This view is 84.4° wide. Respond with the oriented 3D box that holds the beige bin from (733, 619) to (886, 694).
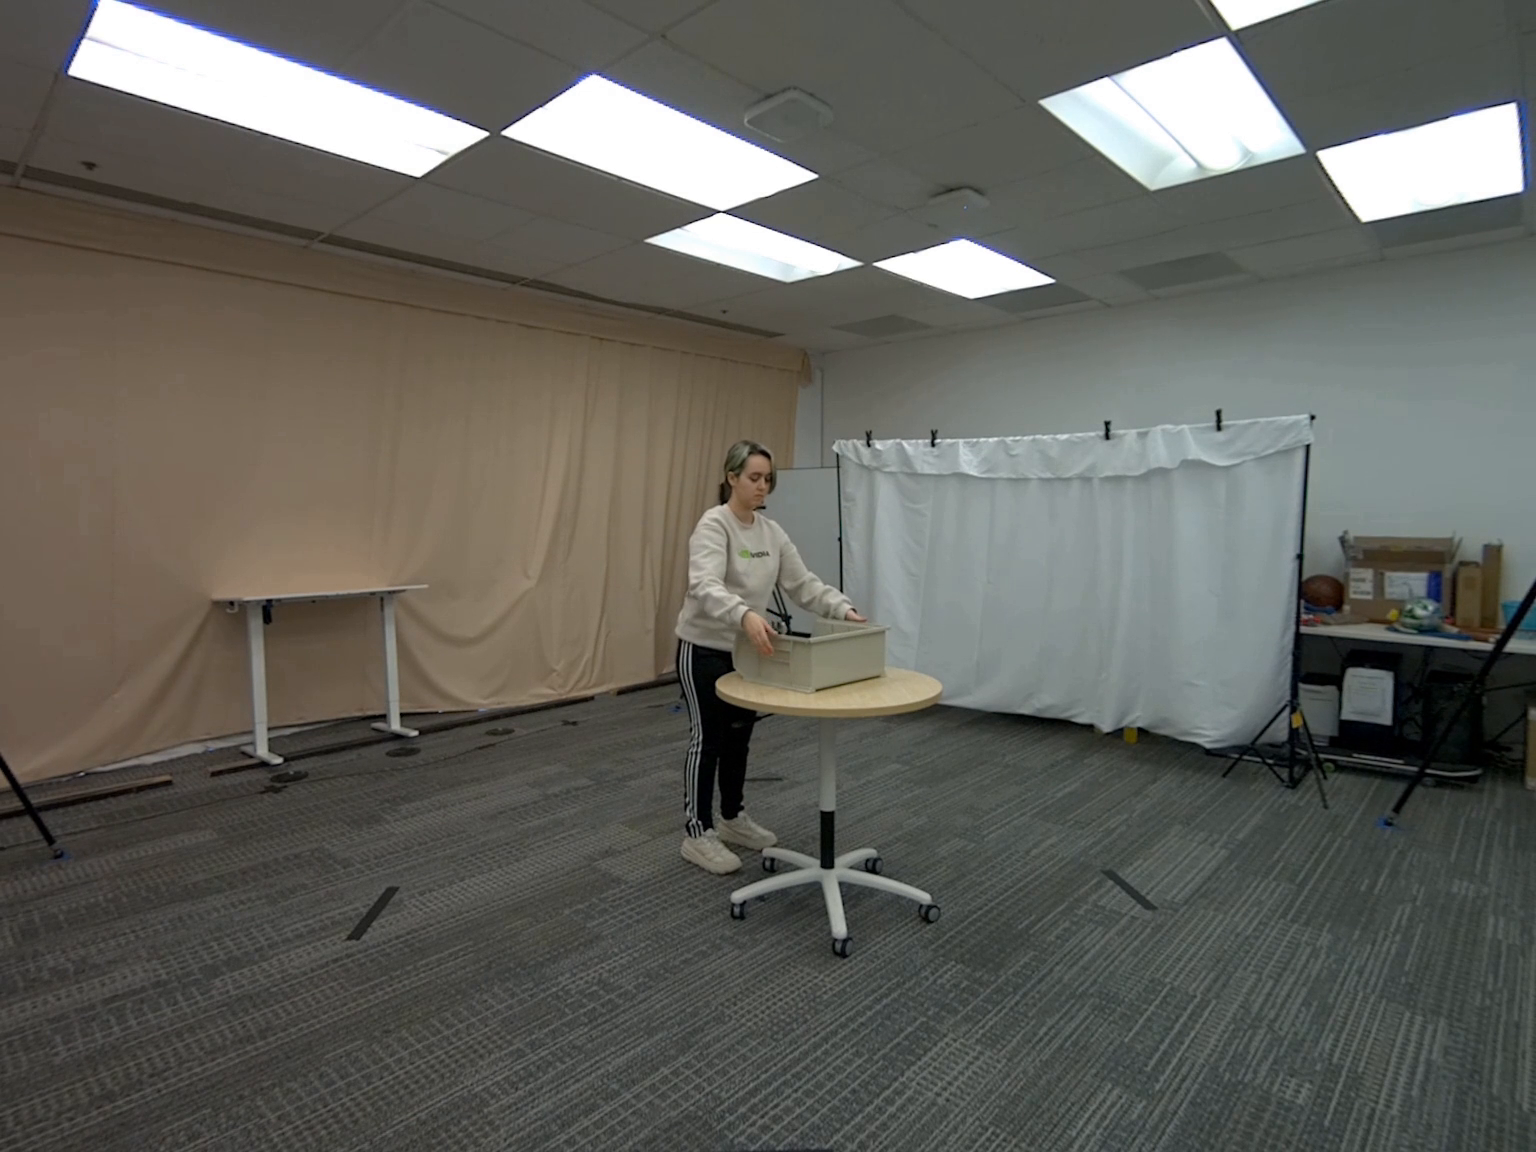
[{"bbox_3d":[0.154,0.270,2.976,0.409,0.188,0.390,-4,7,-43],"label":"beige bin"}]
